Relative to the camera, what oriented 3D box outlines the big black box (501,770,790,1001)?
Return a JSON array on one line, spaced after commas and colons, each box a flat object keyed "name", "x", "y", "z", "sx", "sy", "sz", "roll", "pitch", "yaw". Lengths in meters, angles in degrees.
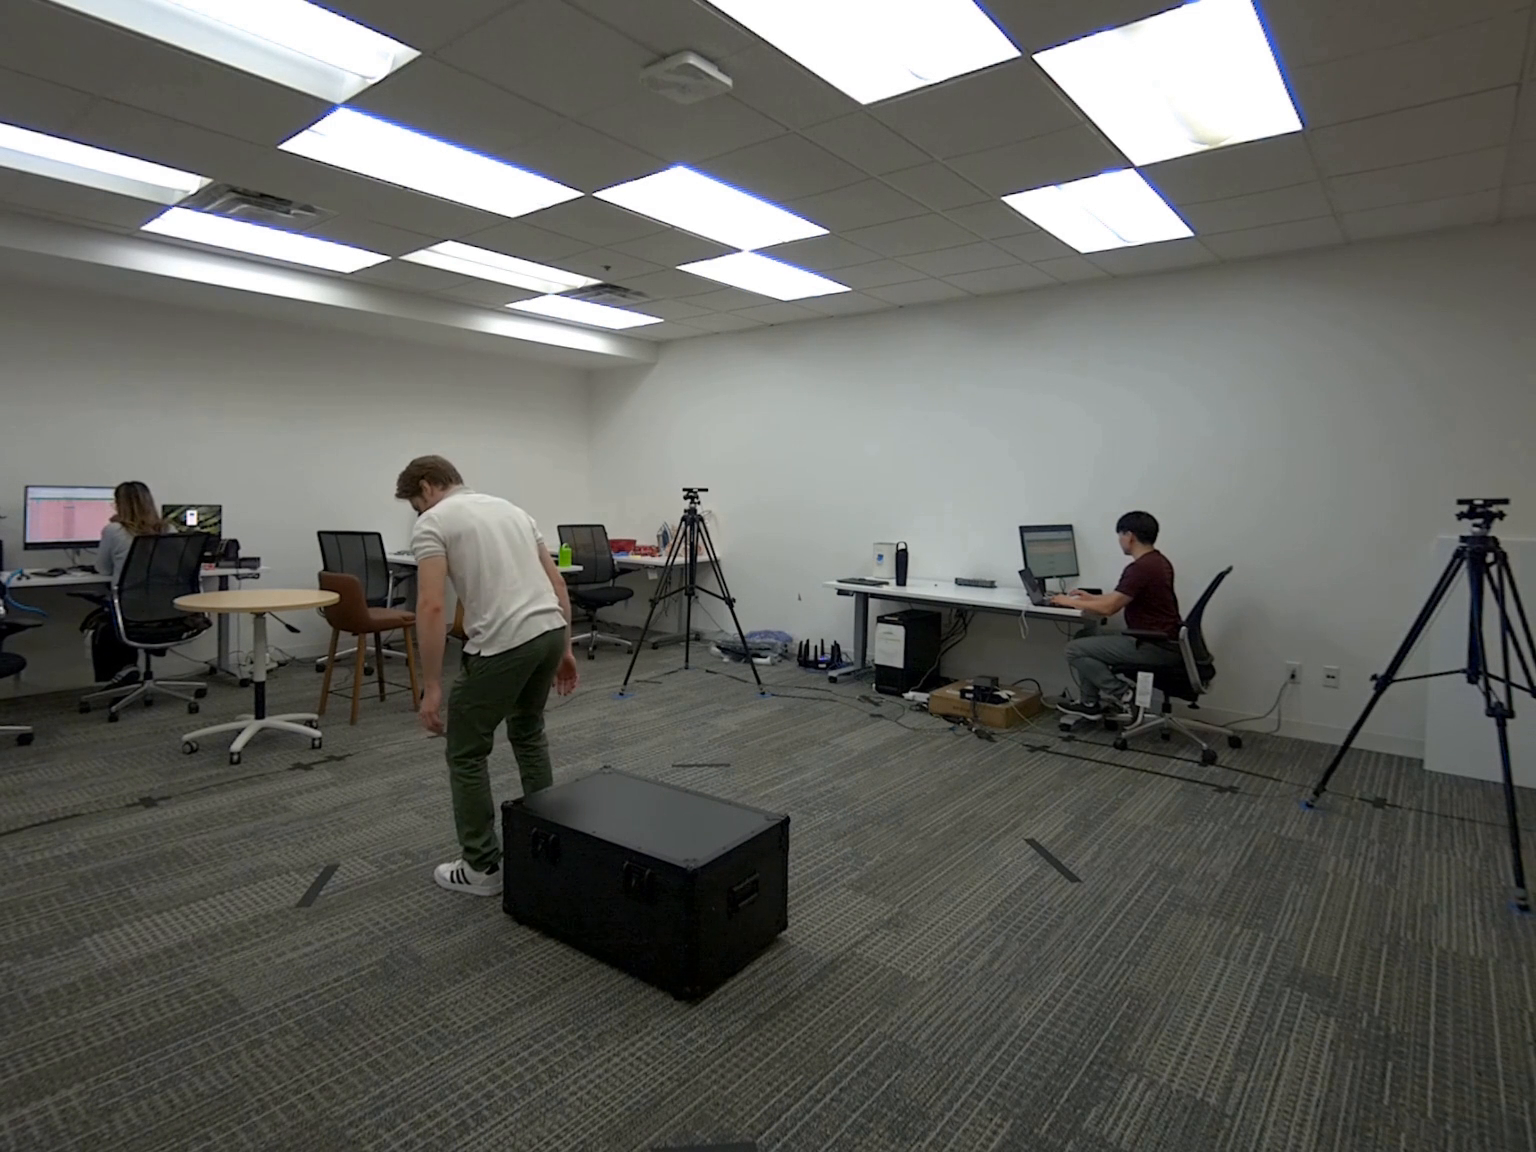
[{"name": "big black box", "x": -0.428, "y": 0.910, "z": 2.702, "sx": 0.896, "sy": 0.384, "sz": 0.509, "roll": 4, "pitch": 6, "yaw": 35}]
